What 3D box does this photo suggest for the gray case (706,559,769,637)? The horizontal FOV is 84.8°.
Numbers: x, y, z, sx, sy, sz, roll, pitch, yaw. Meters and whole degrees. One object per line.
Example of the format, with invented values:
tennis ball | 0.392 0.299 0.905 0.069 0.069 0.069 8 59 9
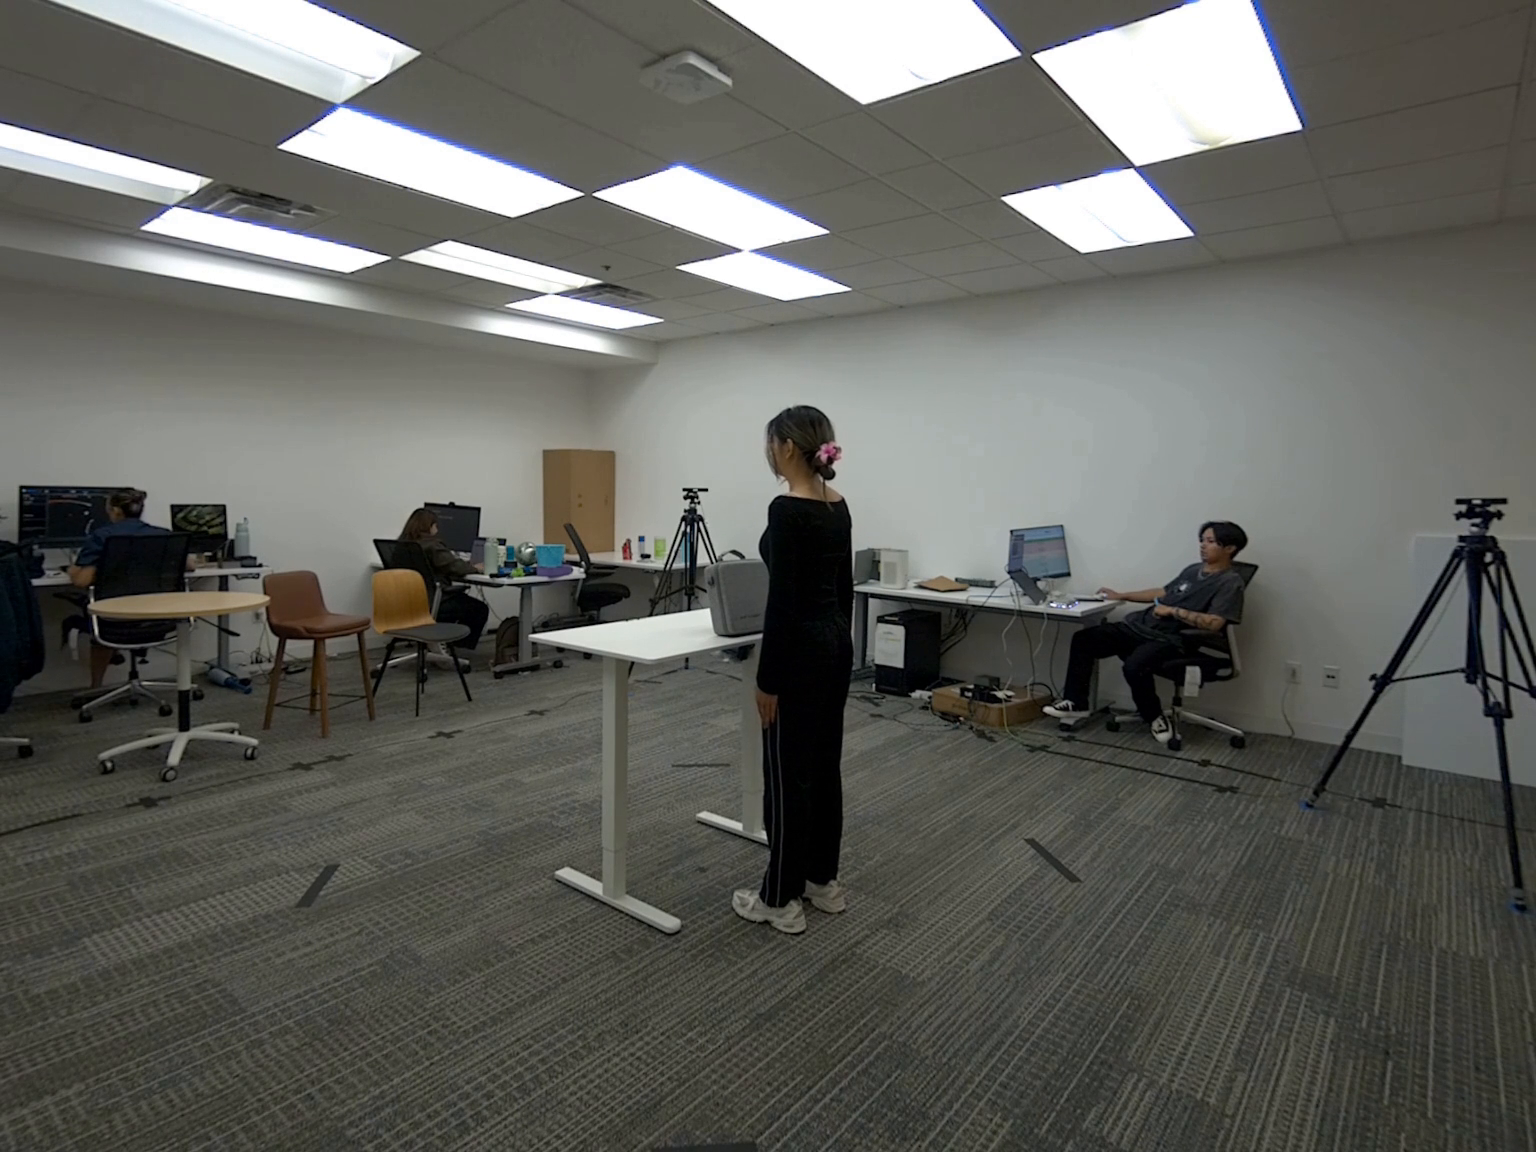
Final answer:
gray case | -0.101 0.067 2.996 0.249 0.262 0.107 -3 -8 -42
